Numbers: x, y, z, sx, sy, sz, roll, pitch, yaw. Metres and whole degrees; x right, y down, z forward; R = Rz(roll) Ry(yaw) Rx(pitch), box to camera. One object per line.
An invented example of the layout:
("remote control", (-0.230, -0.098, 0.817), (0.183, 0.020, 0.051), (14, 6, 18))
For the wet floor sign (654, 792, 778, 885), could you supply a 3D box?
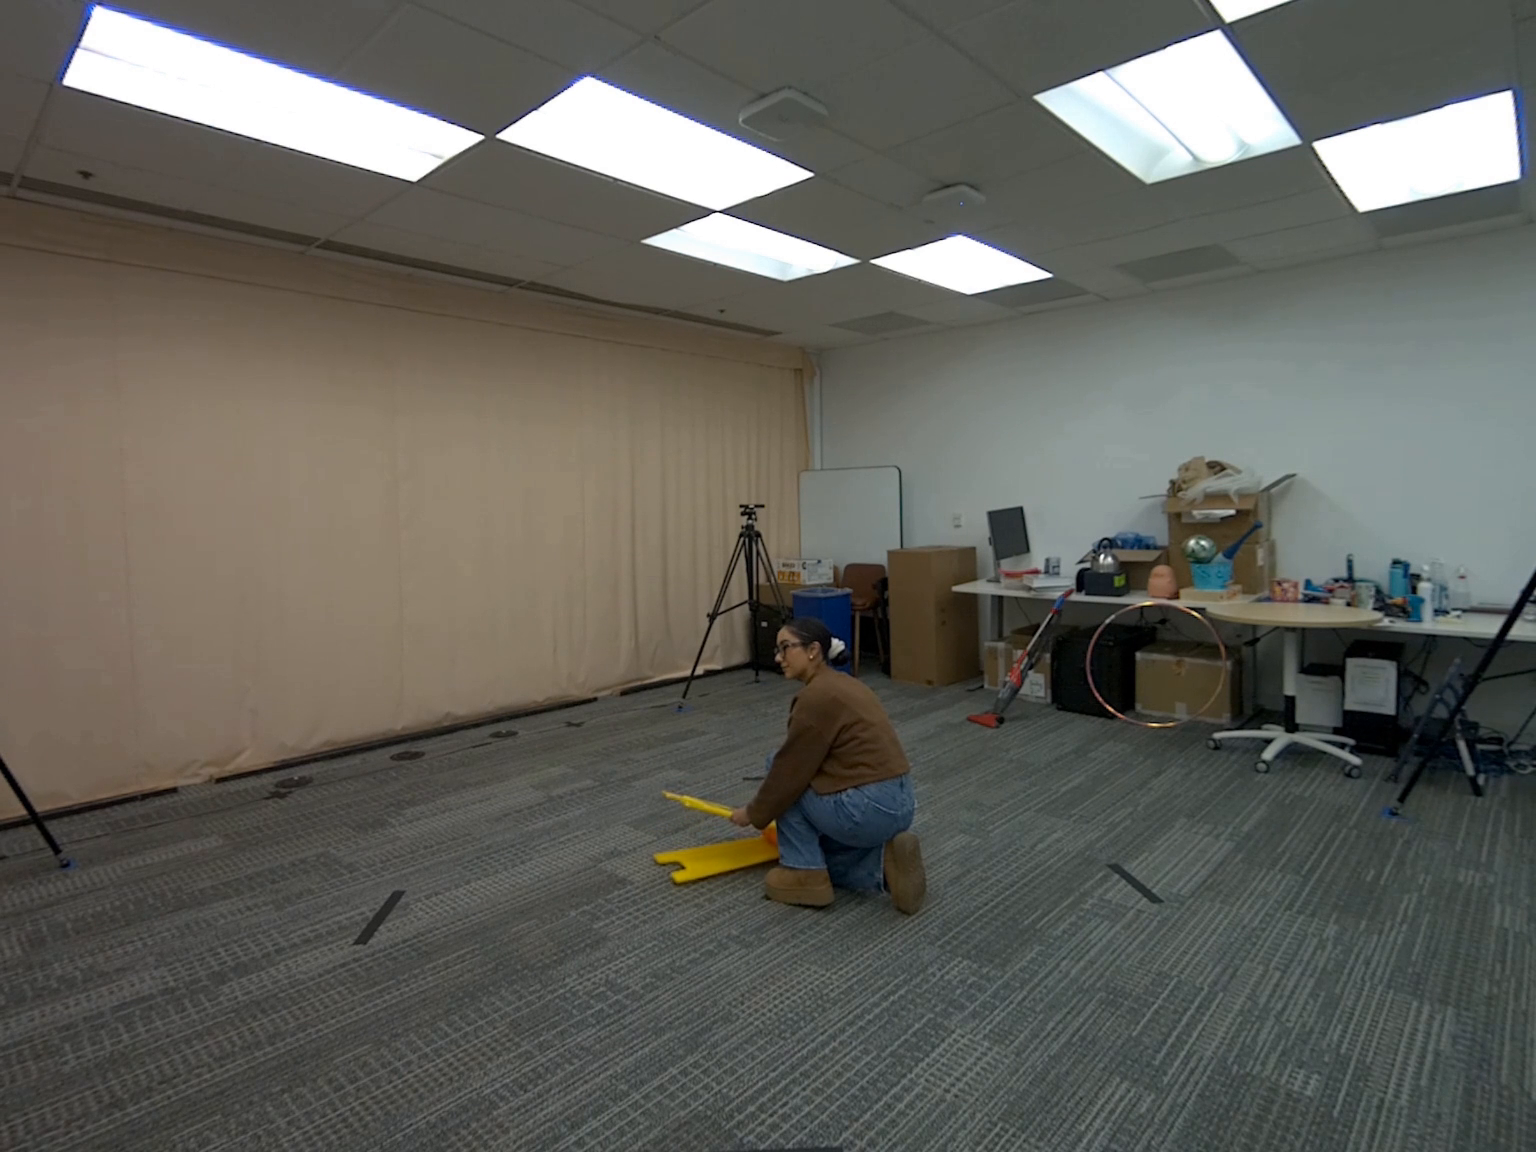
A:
("wet floor sign", (-0.091, 1.027, 3.327), (0.630, 0.290, 0.288), (9, -5, -23))
